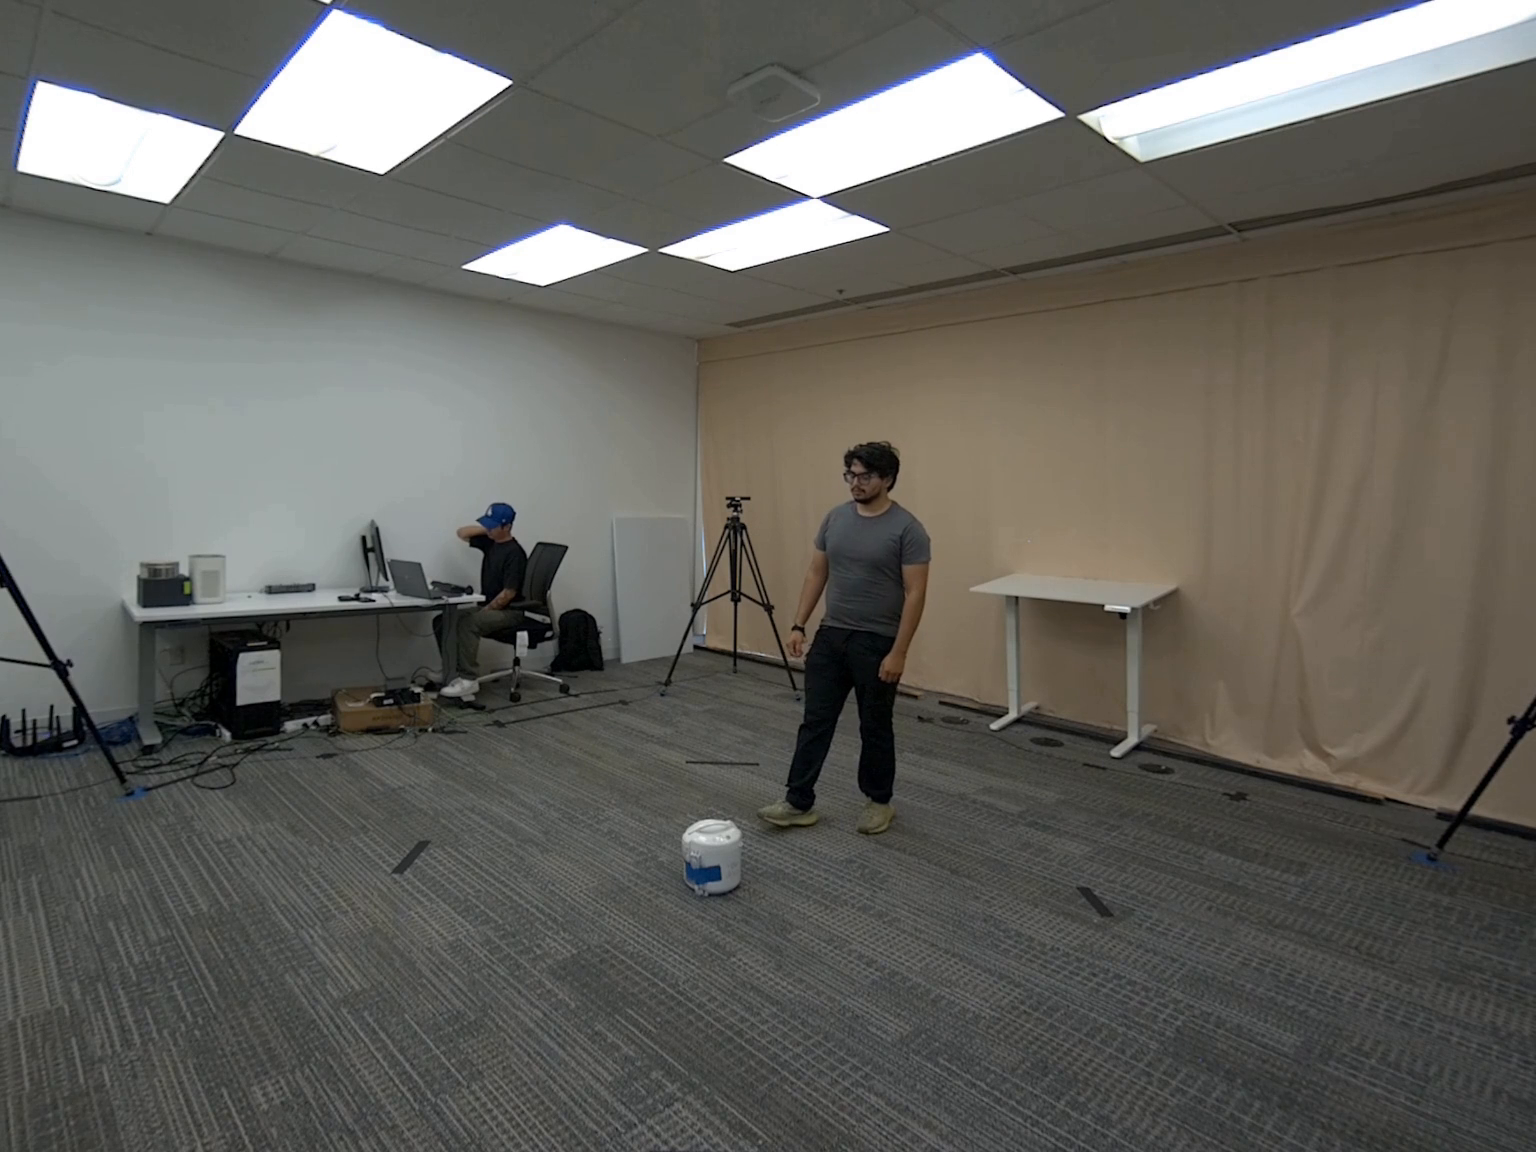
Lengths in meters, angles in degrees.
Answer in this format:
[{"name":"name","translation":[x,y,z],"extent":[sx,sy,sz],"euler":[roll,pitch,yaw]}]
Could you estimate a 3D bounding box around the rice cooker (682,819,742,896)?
[{"name":"rice cooker","translation":[-0.207,0.993,3.025],"extent":[0.217,0.232,0.221],"euler":[0,4,-21]}]
